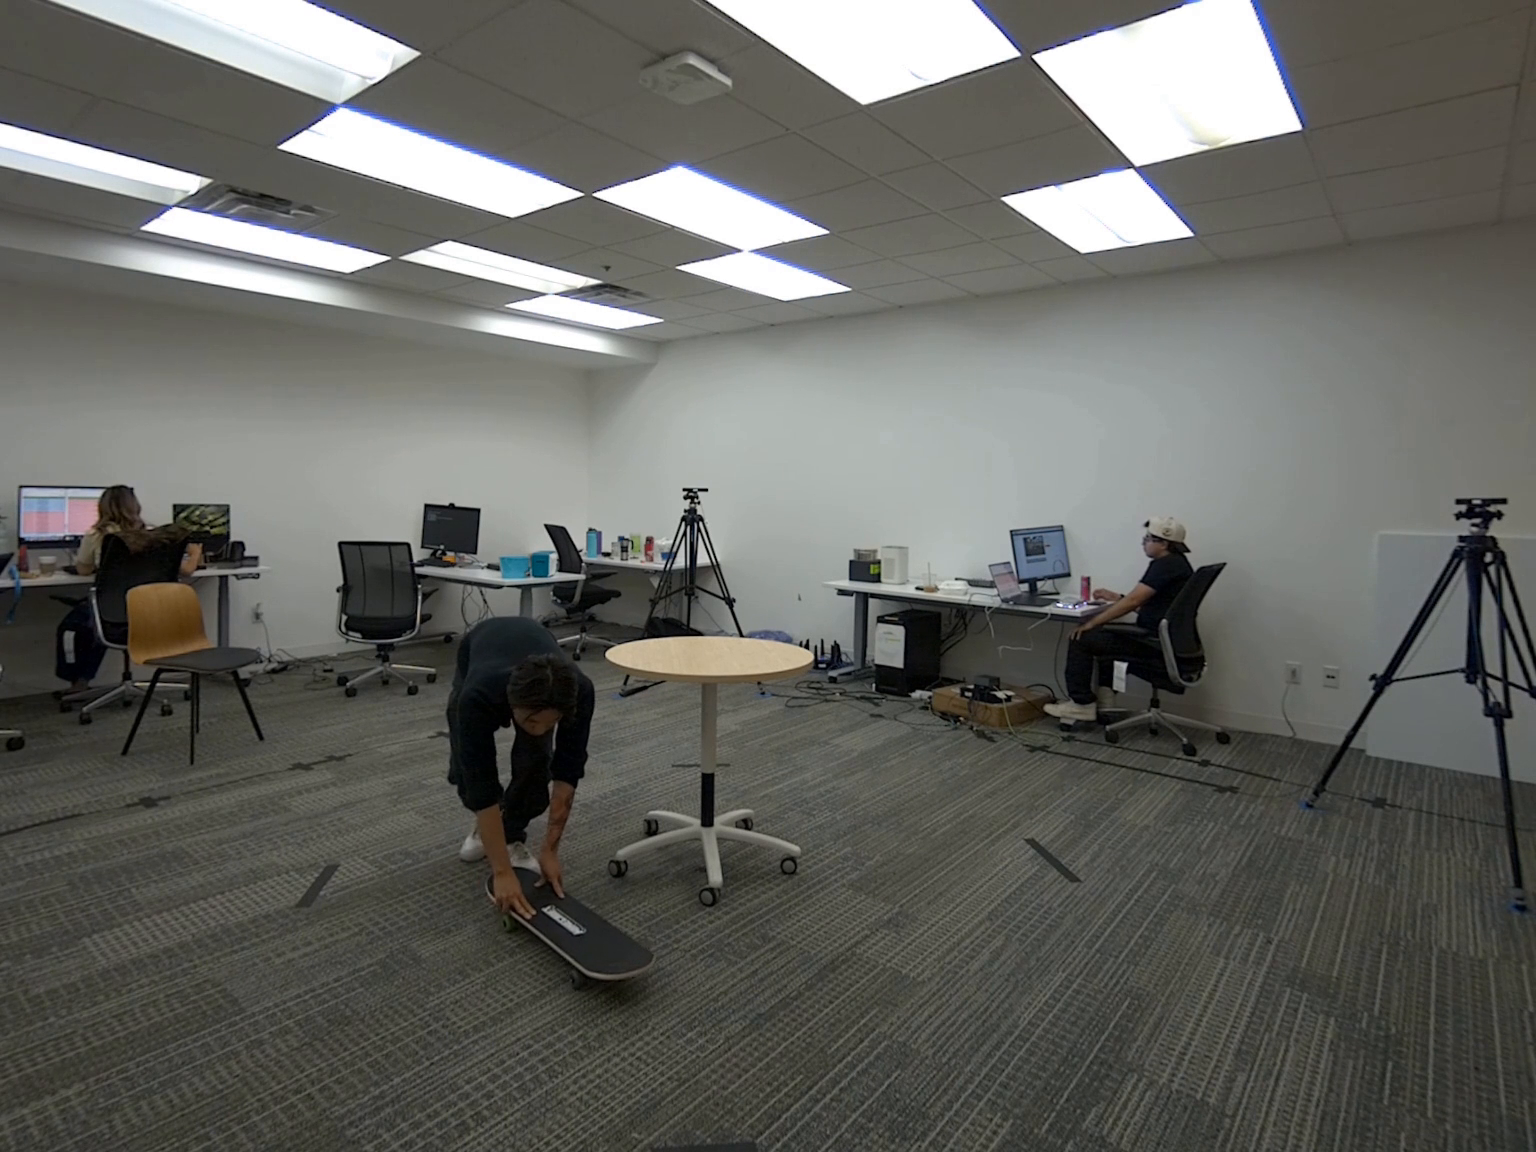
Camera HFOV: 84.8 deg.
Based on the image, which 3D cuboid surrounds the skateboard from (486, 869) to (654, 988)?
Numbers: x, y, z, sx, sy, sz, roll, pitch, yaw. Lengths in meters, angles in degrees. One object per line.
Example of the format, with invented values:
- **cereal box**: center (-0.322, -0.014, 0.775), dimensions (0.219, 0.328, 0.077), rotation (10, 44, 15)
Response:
- **skateboard**: center (-0.626, 1.059, 2.558), dimensions (0.188, 0.110, 0.812), rotation (-5, 7, -43)
